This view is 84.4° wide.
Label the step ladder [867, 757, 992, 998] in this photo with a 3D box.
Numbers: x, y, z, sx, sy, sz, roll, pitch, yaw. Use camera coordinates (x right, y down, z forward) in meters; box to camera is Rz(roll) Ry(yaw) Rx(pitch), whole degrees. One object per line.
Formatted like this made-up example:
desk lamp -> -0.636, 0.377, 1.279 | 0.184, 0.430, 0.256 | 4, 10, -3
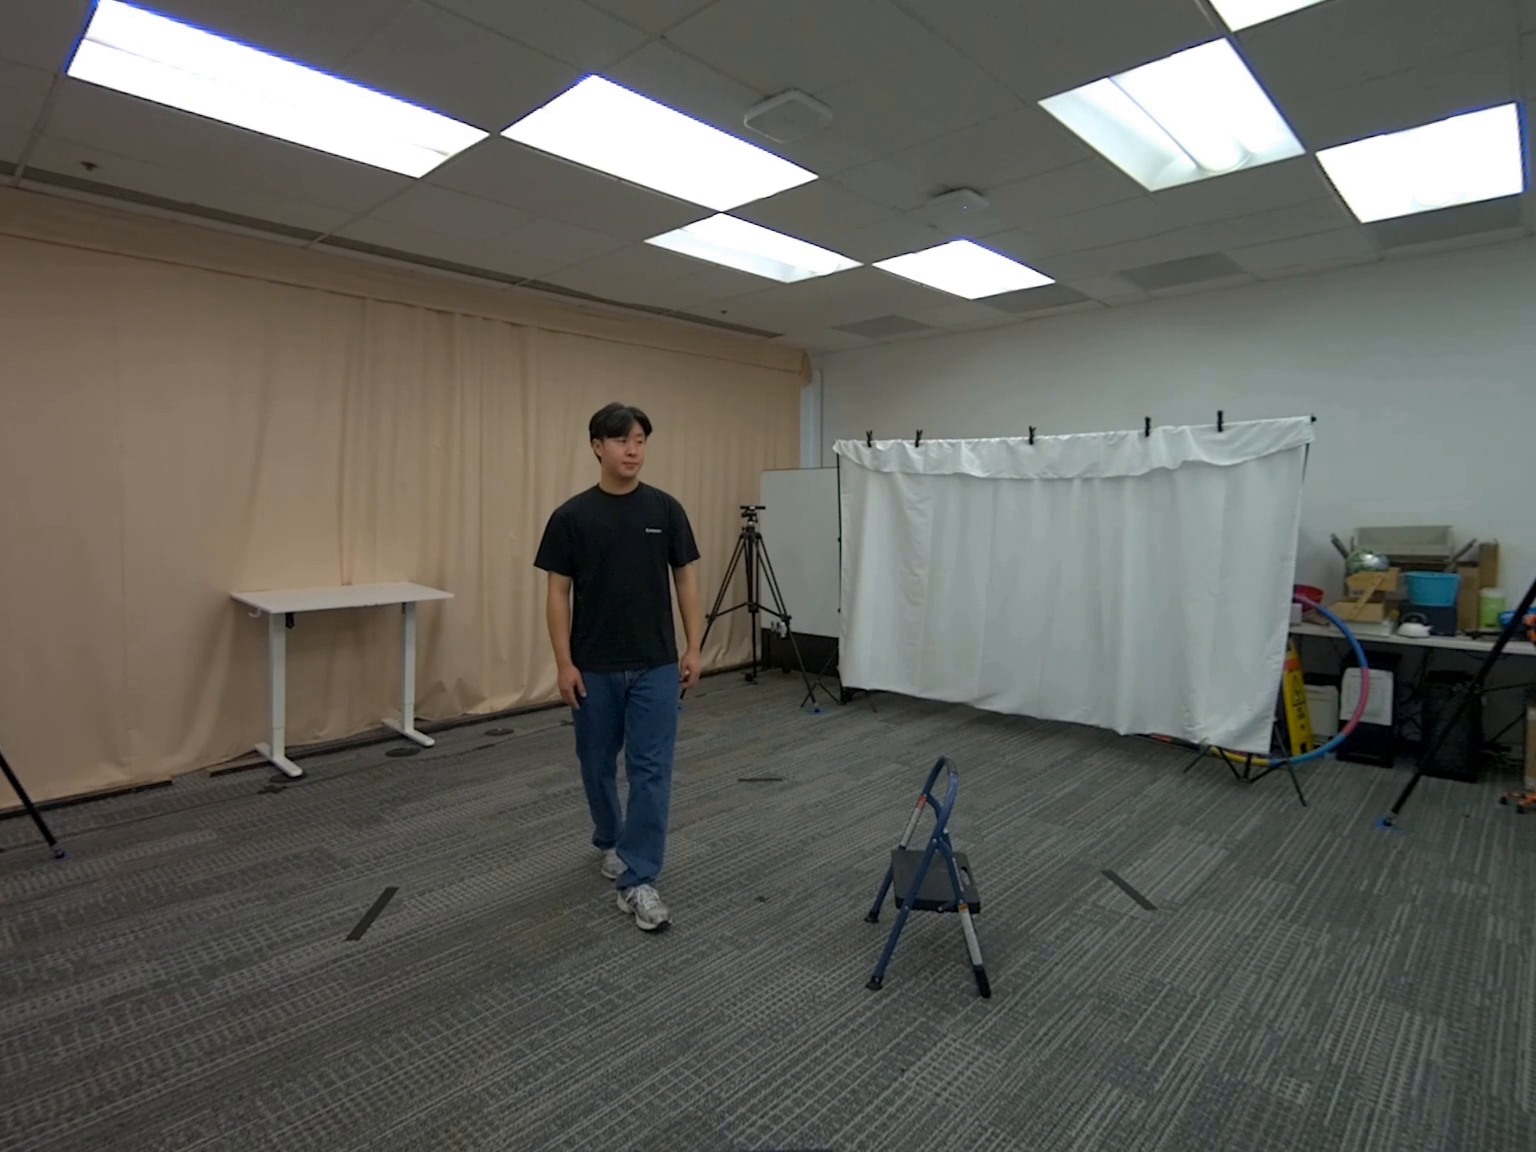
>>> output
step ladder -> 0.489, 0.876, 2.586 | 0.352, 0.604, 0.428 | 0, 4, 6
